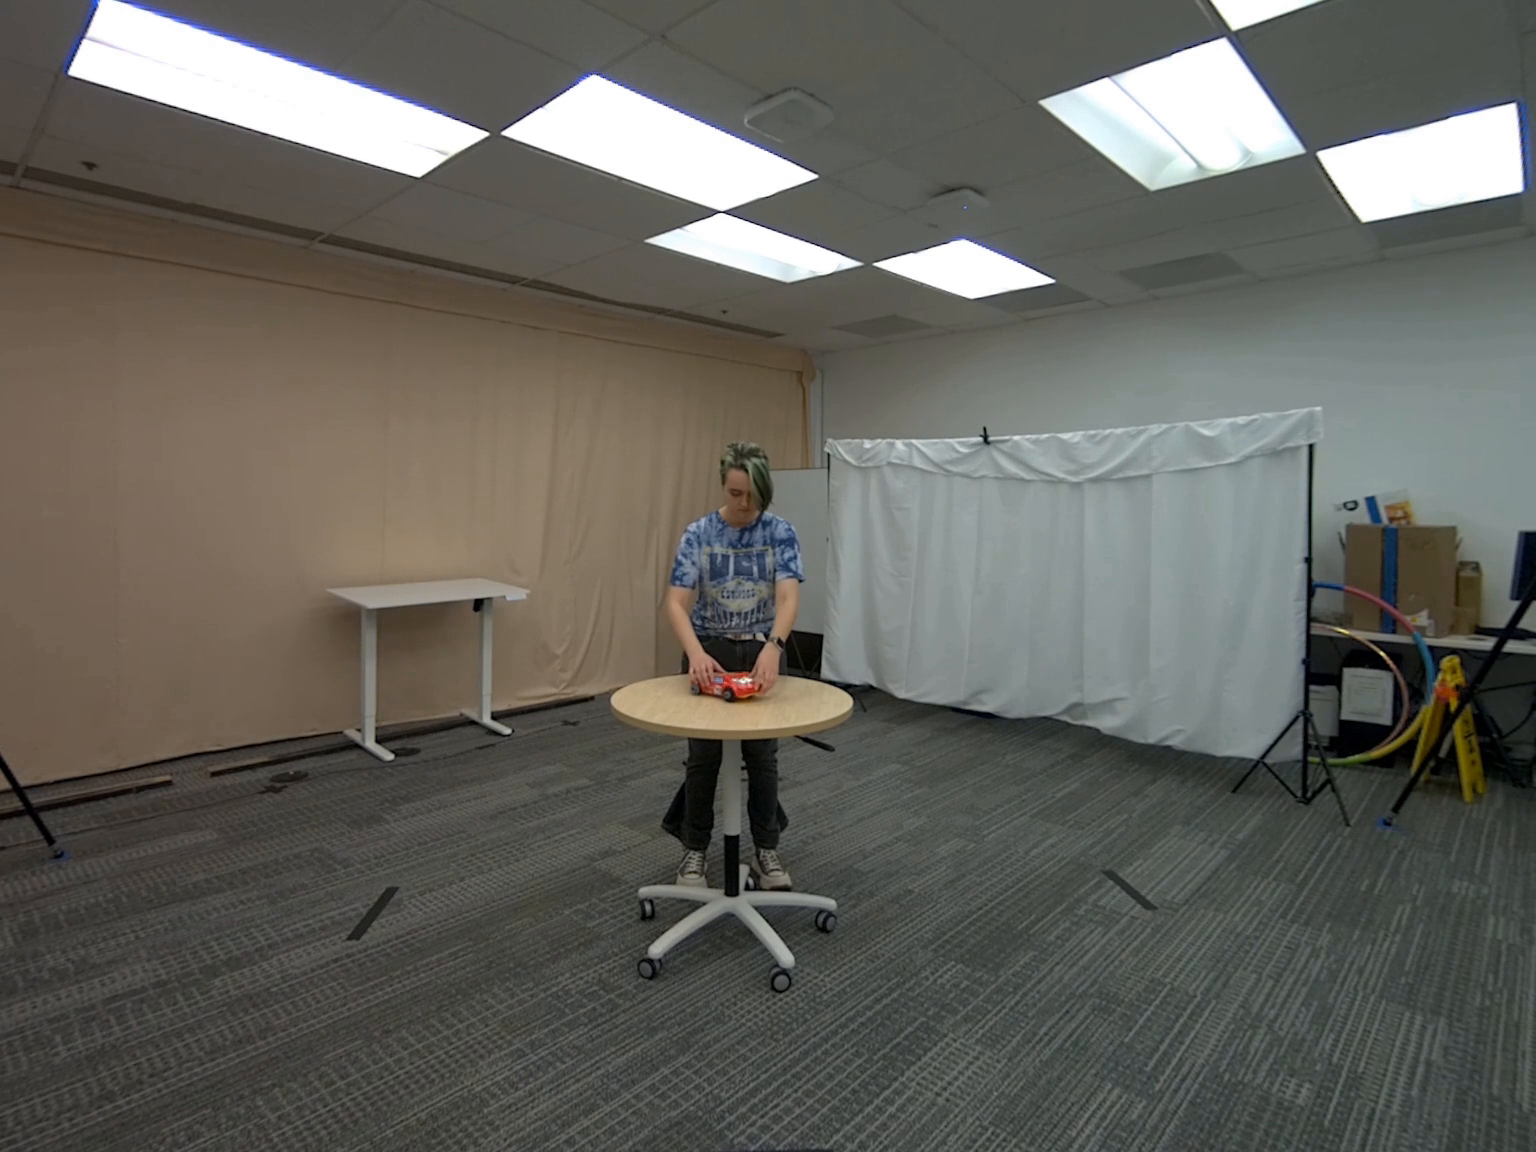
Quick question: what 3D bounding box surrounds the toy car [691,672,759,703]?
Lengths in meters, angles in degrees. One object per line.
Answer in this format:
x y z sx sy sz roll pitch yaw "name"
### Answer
-0.127 0.354 2.686 0.262 0.083 0.126 -9 -4 41 "toy car"
